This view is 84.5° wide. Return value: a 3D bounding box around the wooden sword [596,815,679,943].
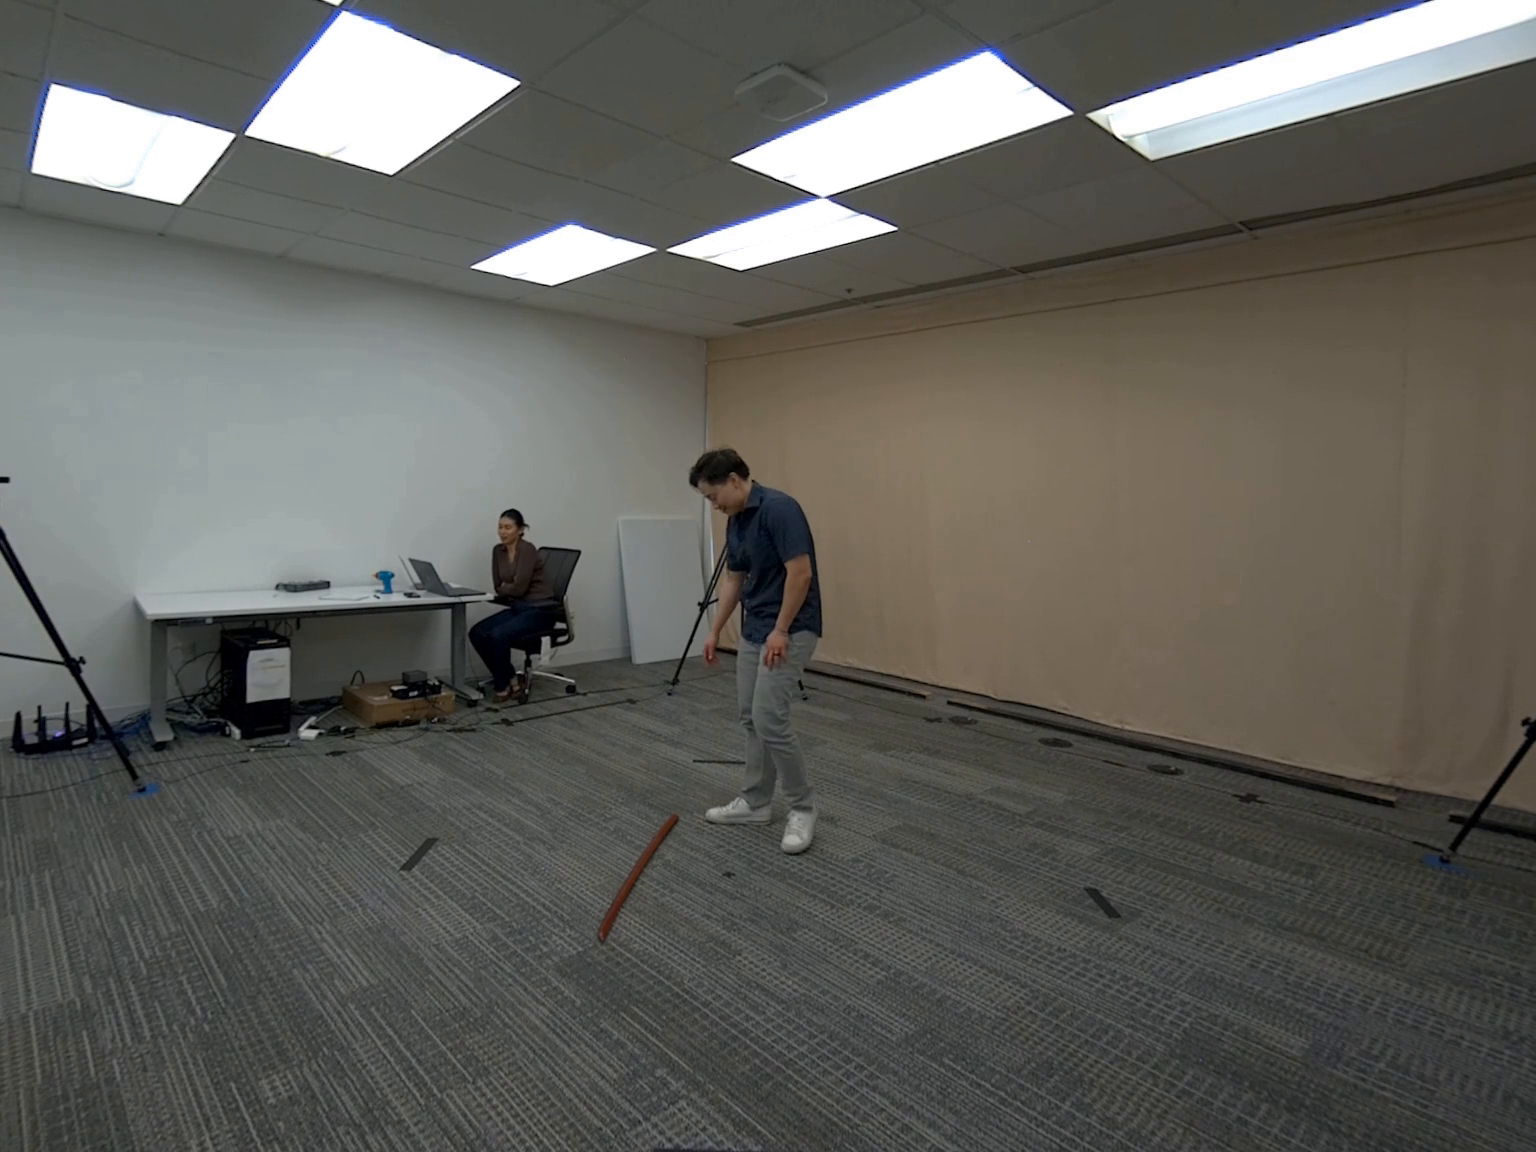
[{"bbox_3d":[-0.470,1.075,3.106,0.051,0.024,1.021,7,6,6],"label":"wooden sword"}]
